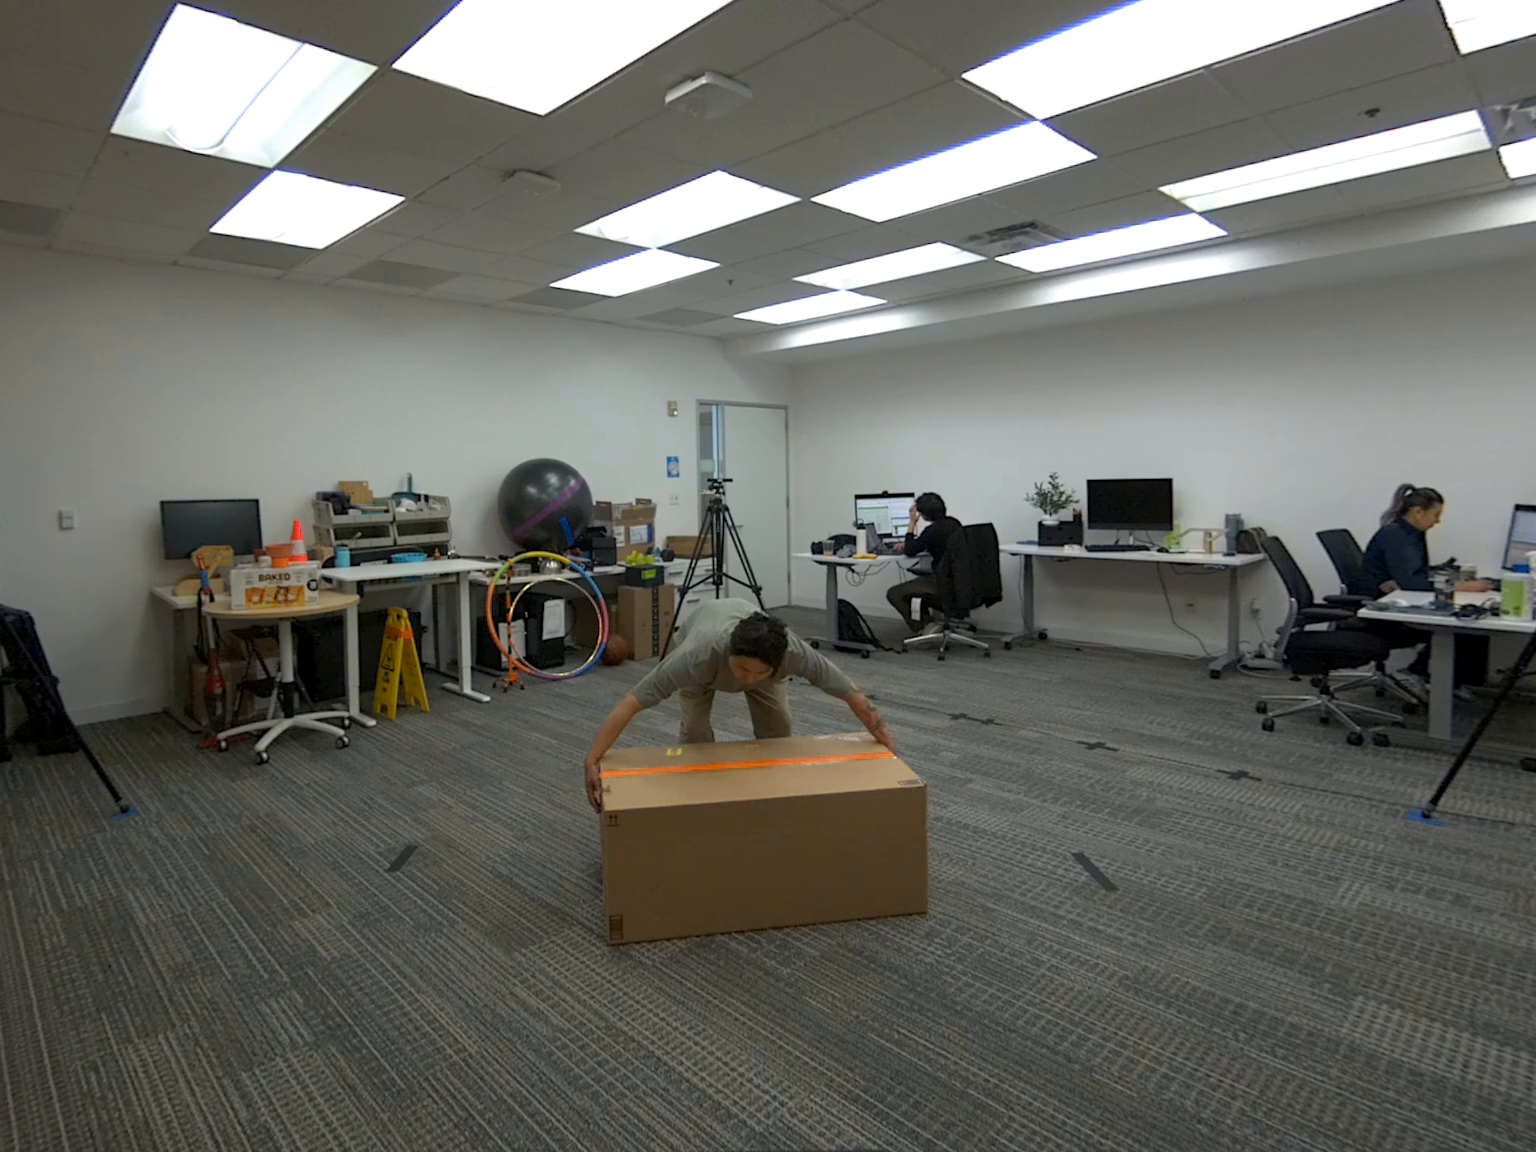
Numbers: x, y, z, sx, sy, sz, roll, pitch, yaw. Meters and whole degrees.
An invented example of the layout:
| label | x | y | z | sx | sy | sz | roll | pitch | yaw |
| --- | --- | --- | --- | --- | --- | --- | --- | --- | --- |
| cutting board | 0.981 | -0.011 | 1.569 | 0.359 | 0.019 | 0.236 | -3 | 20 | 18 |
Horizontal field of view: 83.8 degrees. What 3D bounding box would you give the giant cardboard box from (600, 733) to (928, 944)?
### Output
| label | x | y | z | sx | sy | sz | roll | pitch | yaw |
| --- | --- | --- | --- | --- | --- | --- | --- | --- | --- |
| giant cardboard box | -0.051 | 0.847 | 2.908 | 1.016 | 0.425 | 0.585 | -2 | 5 | -10 |
